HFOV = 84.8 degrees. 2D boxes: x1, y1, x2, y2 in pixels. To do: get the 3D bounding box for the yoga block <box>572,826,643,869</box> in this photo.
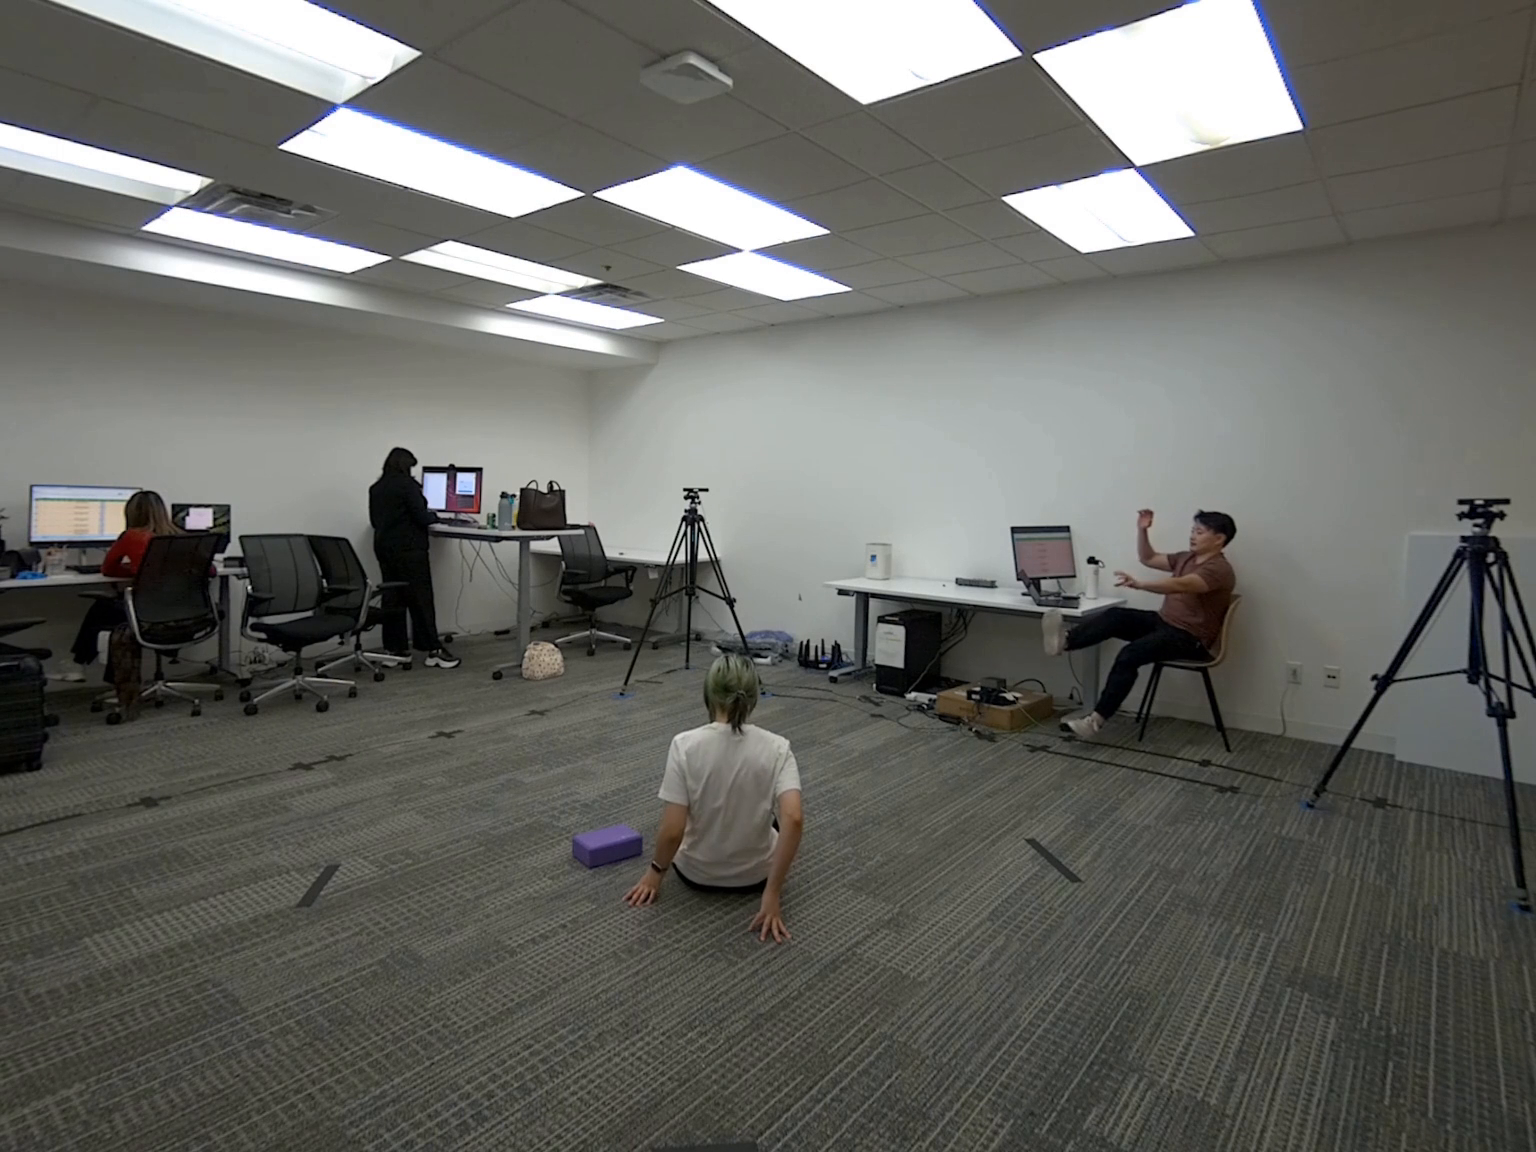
[{"bbox_3d":[-0.618,1.015,3.220,0.222,0.076,0.154,-4,6,-39],"label":"yoga block"}]
